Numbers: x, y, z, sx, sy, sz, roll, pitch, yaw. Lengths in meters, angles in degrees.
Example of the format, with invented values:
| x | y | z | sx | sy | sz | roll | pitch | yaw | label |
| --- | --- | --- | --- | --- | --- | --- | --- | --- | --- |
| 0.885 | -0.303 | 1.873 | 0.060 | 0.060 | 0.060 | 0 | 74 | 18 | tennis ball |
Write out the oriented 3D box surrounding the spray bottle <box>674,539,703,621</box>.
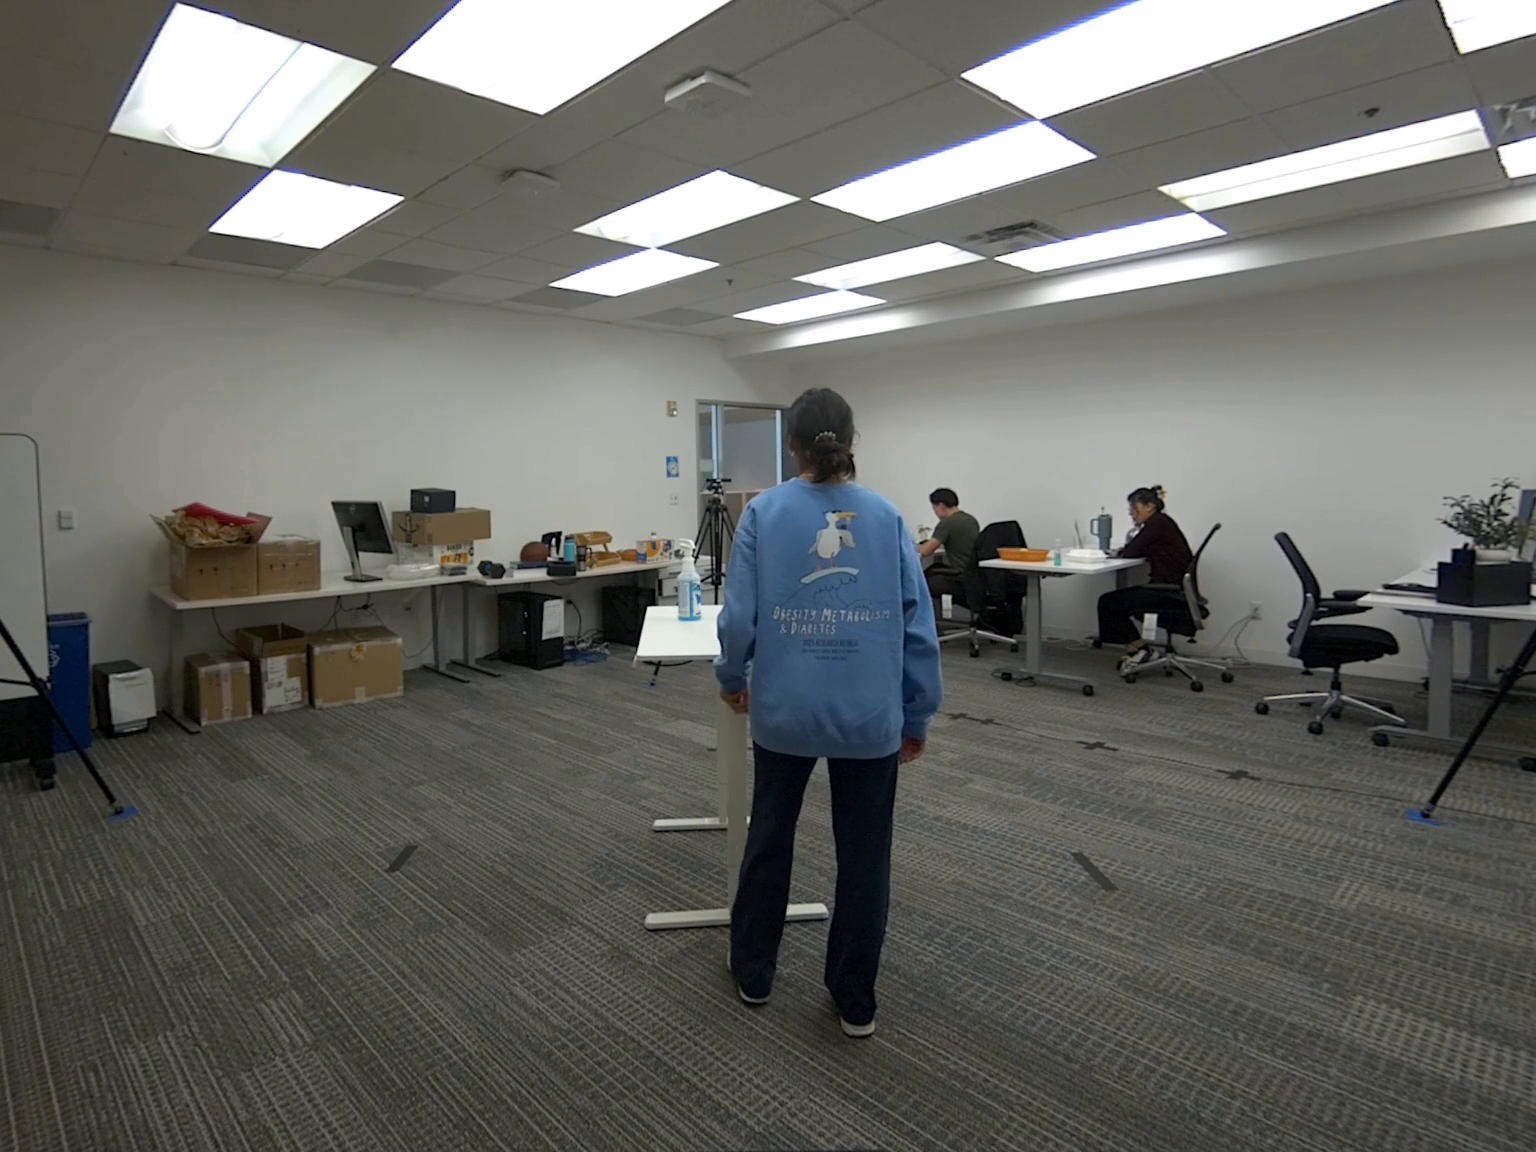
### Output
| x | y | z | sx | sy | sz | roll | pitch | yaw | label |
| --- | --- | --- | --- | --- | --- | --- | --- | --- | --- |
| -0.293 | 0.016 | 3.157 | 0.086 | 0.297 | 0.091 | -1 | 2 | -14 | spray bottle |
